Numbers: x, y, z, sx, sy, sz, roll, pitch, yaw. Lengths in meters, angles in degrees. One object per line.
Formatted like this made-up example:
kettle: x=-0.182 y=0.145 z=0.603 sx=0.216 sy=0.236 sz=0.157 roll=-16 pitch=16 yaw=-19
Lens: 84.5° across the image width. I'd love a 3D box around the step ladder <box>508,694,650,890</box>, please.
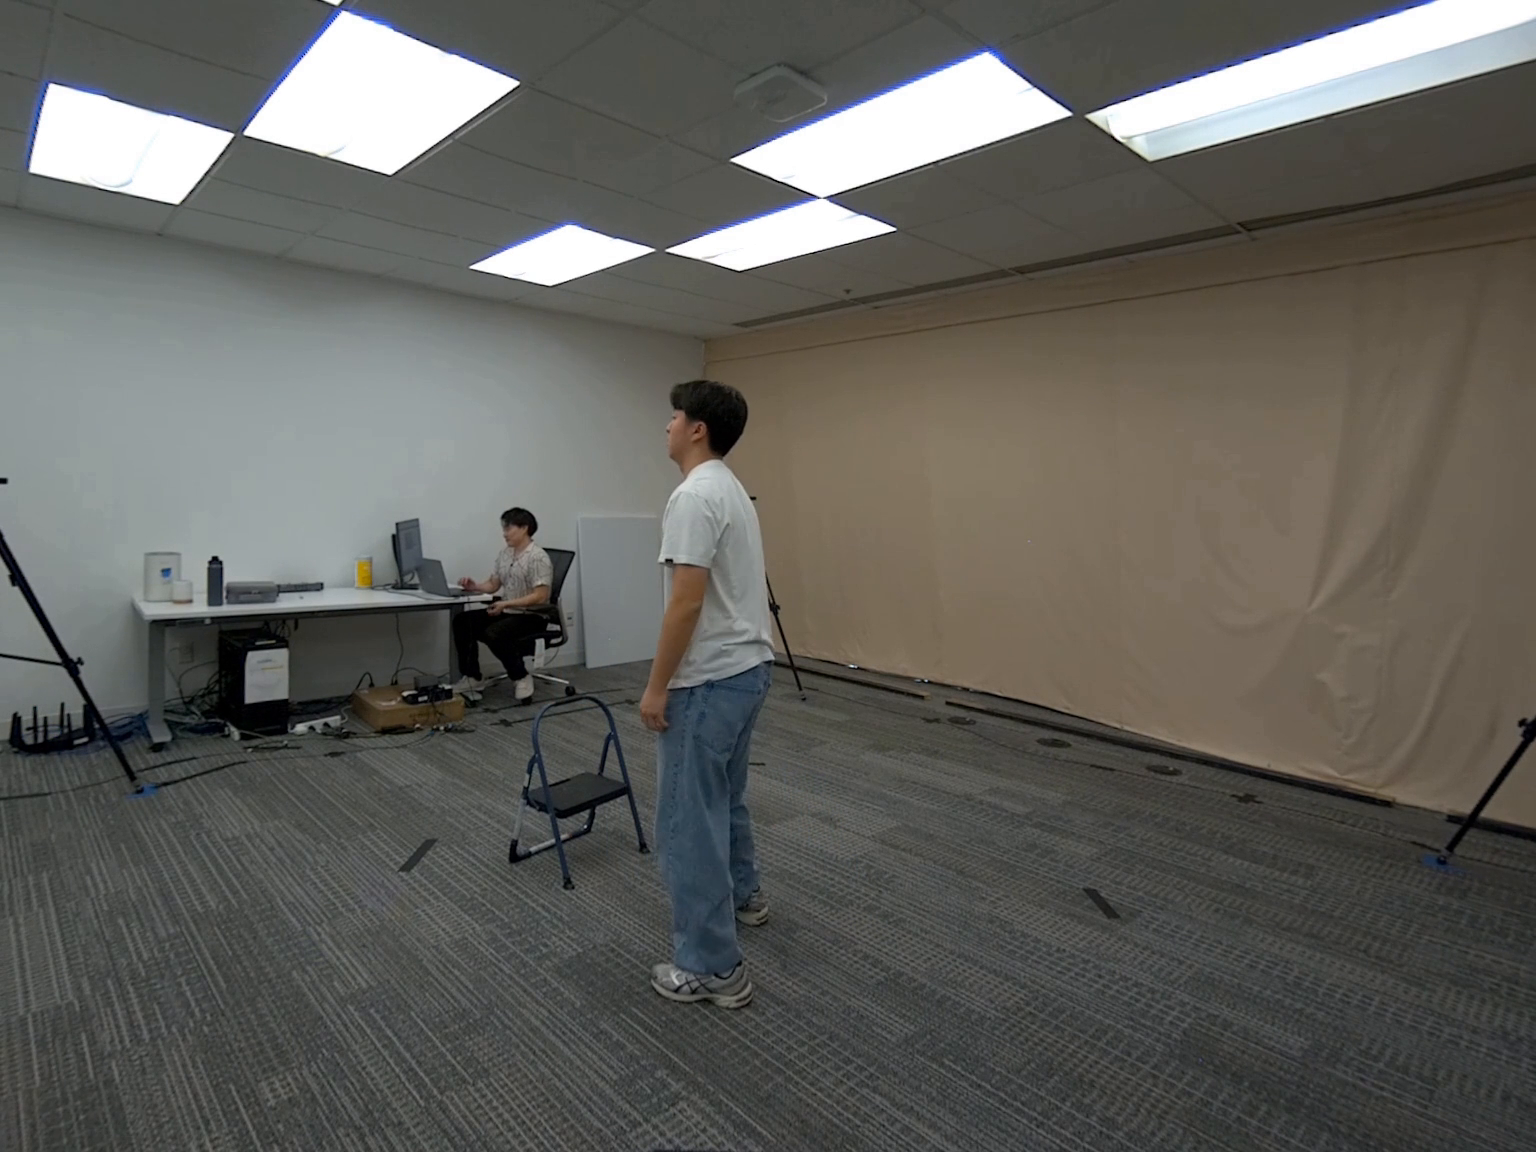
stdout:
step ladder: x=-0.724 y=0.780 z=3.221 sx=0.357 sy=0.604 sz=0.421 roll=4 pitch=4 yaw=35
